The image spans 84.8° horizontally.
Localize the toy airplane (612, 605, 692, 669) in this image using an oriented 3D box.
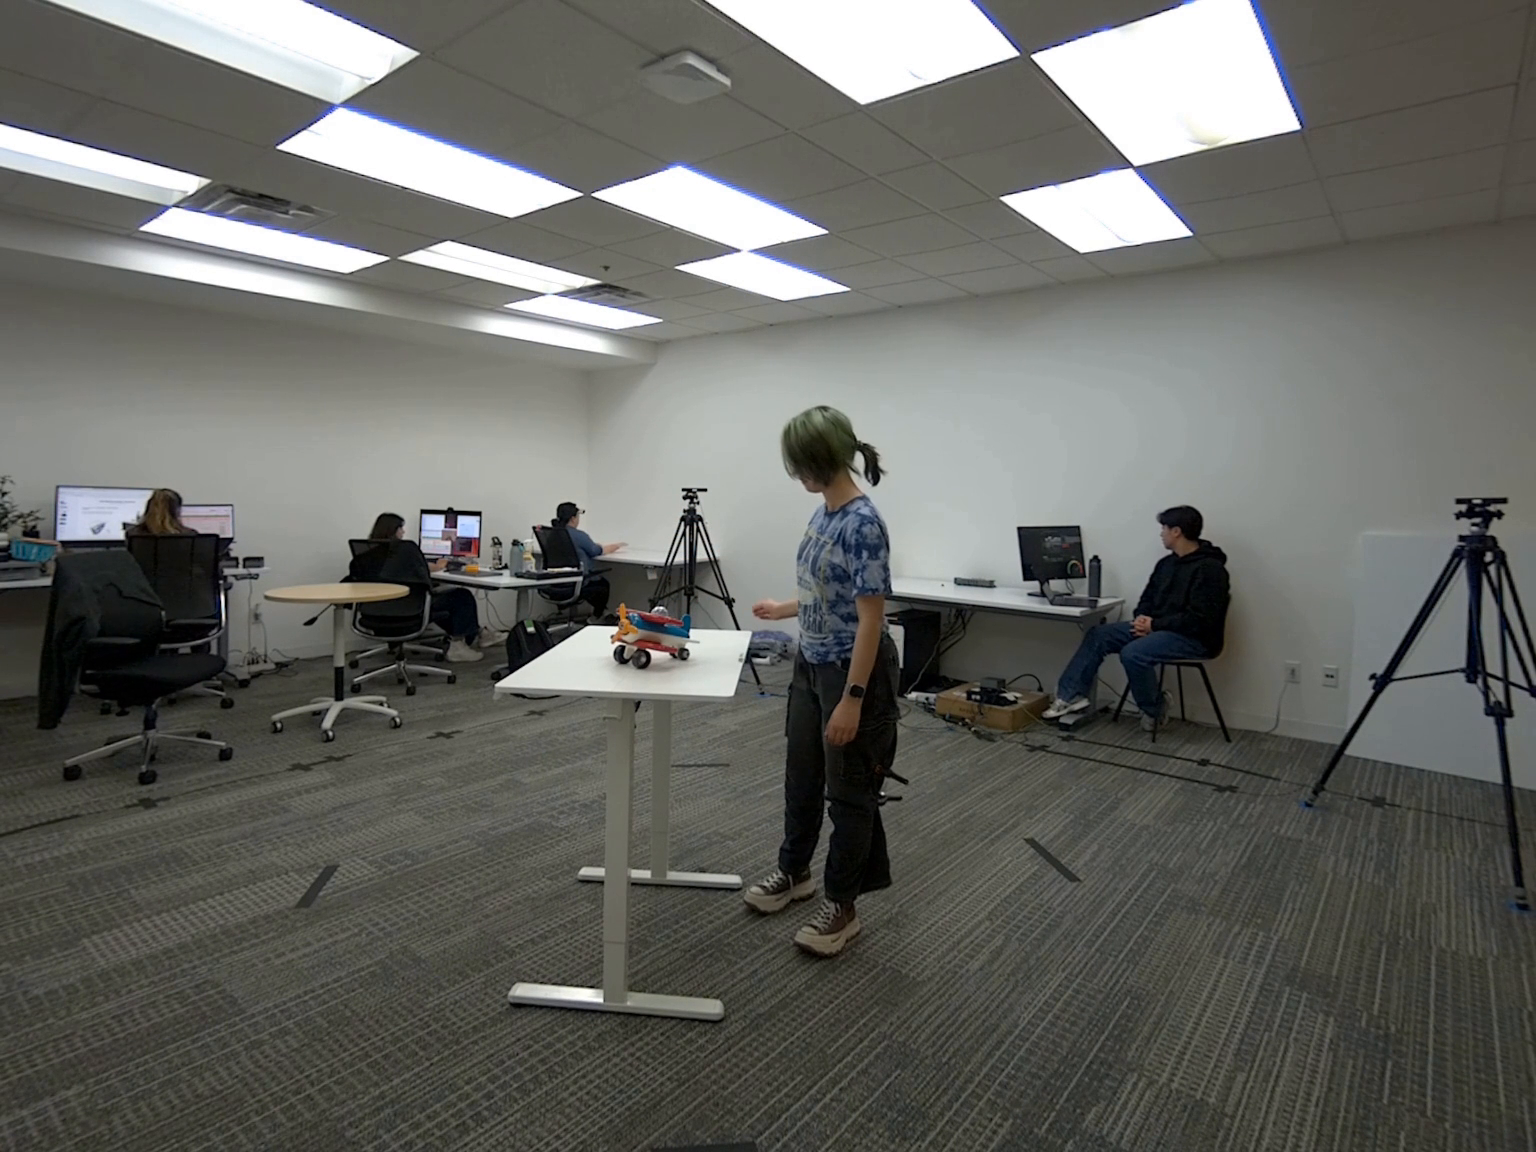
[{"bbox_3d":[-0.351,0.172,2.475,0.256,0.156,0.255,3,6,16],"label":"toy airplane"}]
